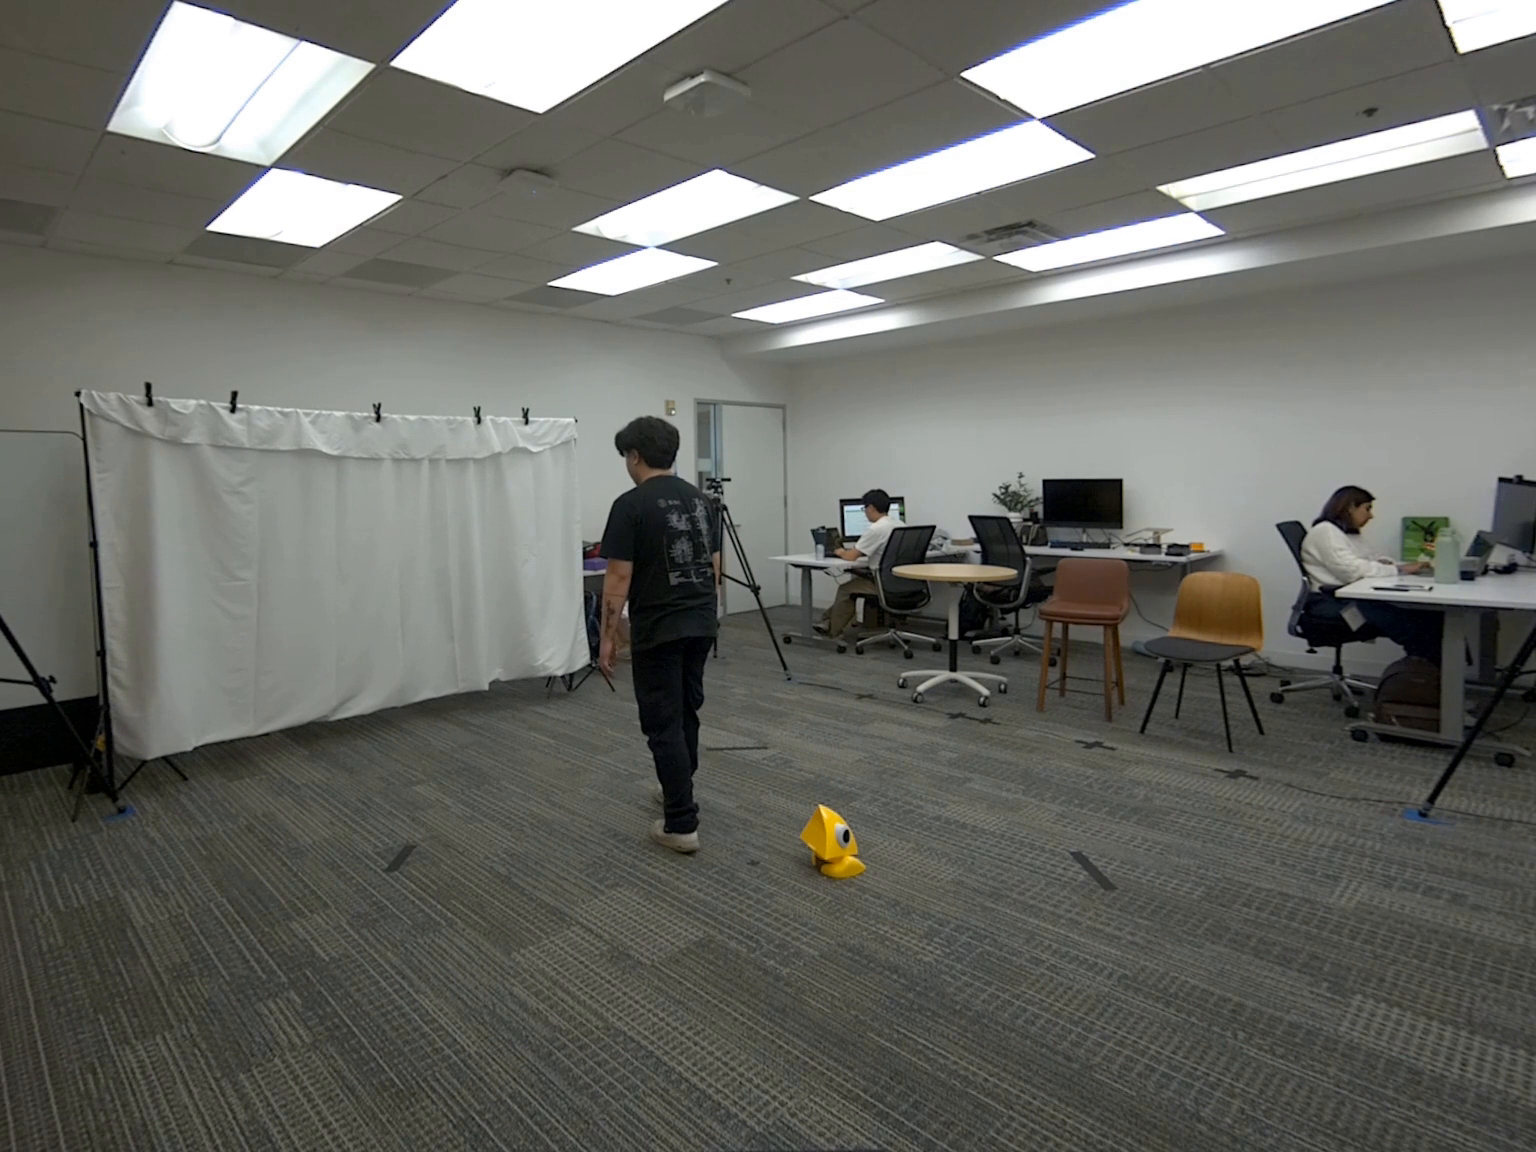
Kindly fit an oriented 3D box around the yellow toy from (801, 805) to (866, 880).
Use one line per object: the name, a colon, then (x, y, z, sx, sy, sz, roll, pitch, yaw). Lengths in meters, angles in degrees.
yellow toy: (0.244, 0.929, 3.070, 0.189, 0.230, 0.209, -3, 5, -23)
